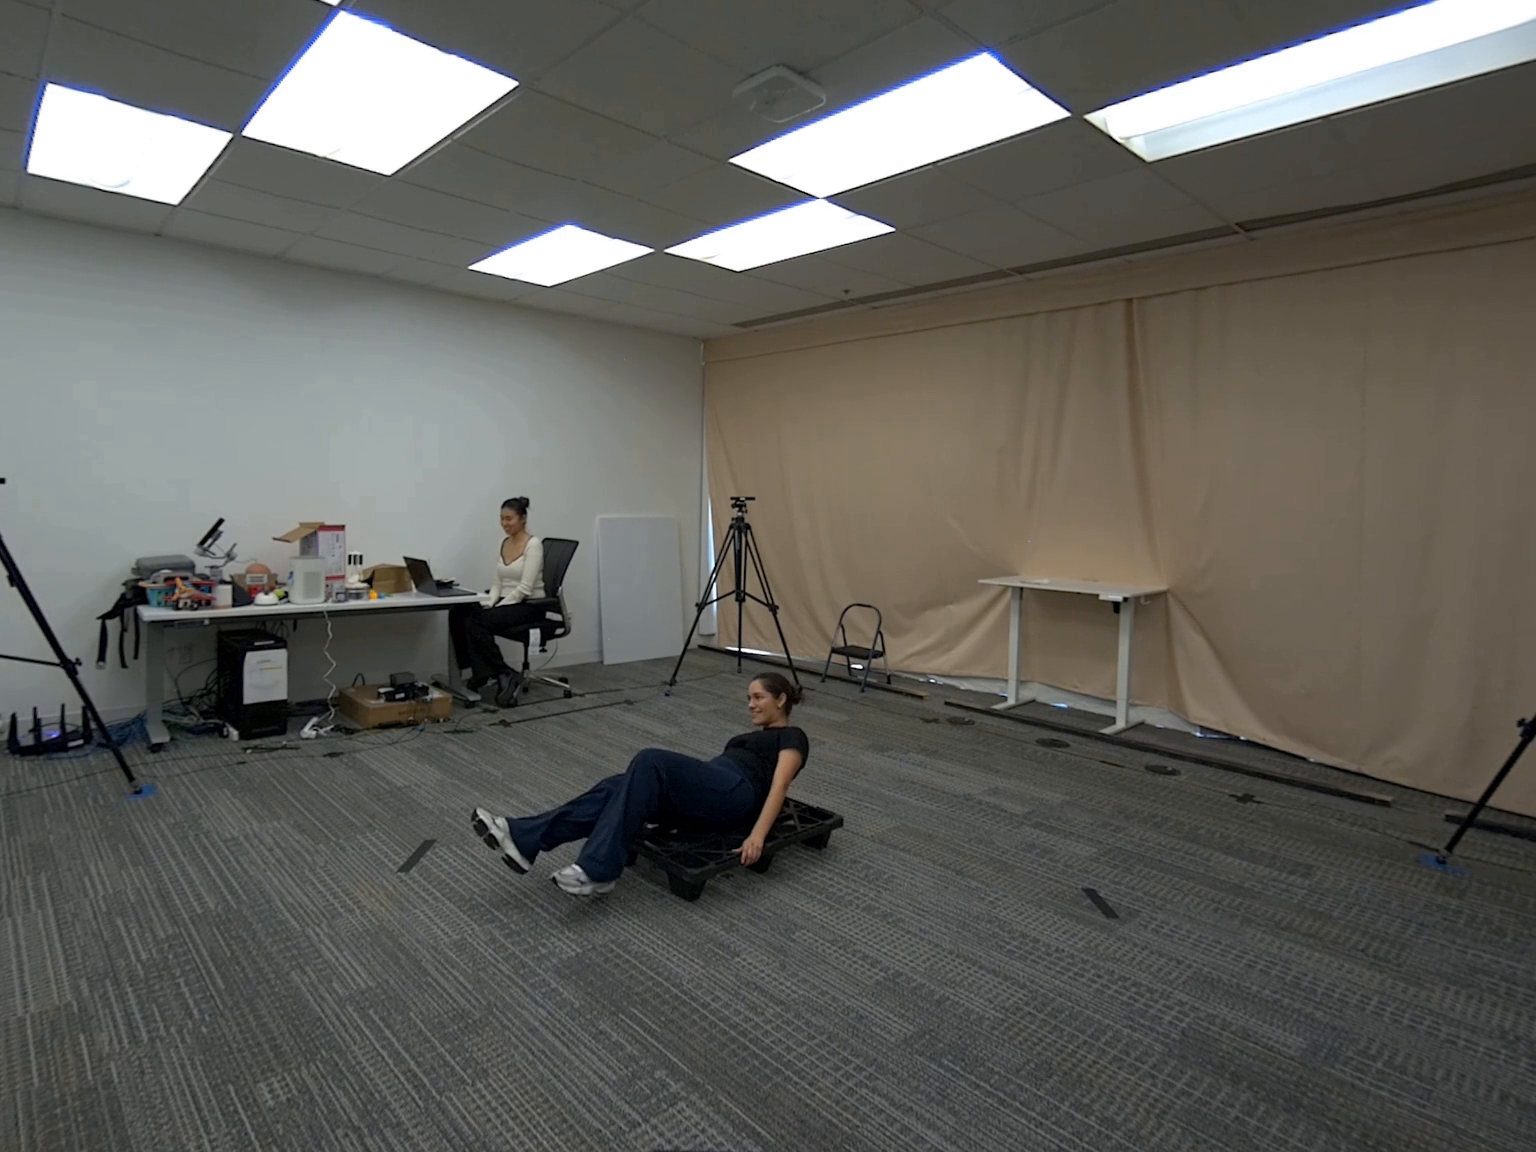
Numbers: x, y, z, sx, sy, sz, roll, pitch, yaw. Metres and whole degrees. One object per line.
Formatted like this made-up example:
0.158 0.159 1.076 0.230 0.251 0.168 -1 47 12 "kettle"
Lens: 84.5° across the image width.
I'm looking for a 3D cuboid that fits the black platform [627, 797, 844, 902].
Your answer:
-0.192 1.025 3.290 0.620 0.143 0.787 5 6 45 "black platform"
